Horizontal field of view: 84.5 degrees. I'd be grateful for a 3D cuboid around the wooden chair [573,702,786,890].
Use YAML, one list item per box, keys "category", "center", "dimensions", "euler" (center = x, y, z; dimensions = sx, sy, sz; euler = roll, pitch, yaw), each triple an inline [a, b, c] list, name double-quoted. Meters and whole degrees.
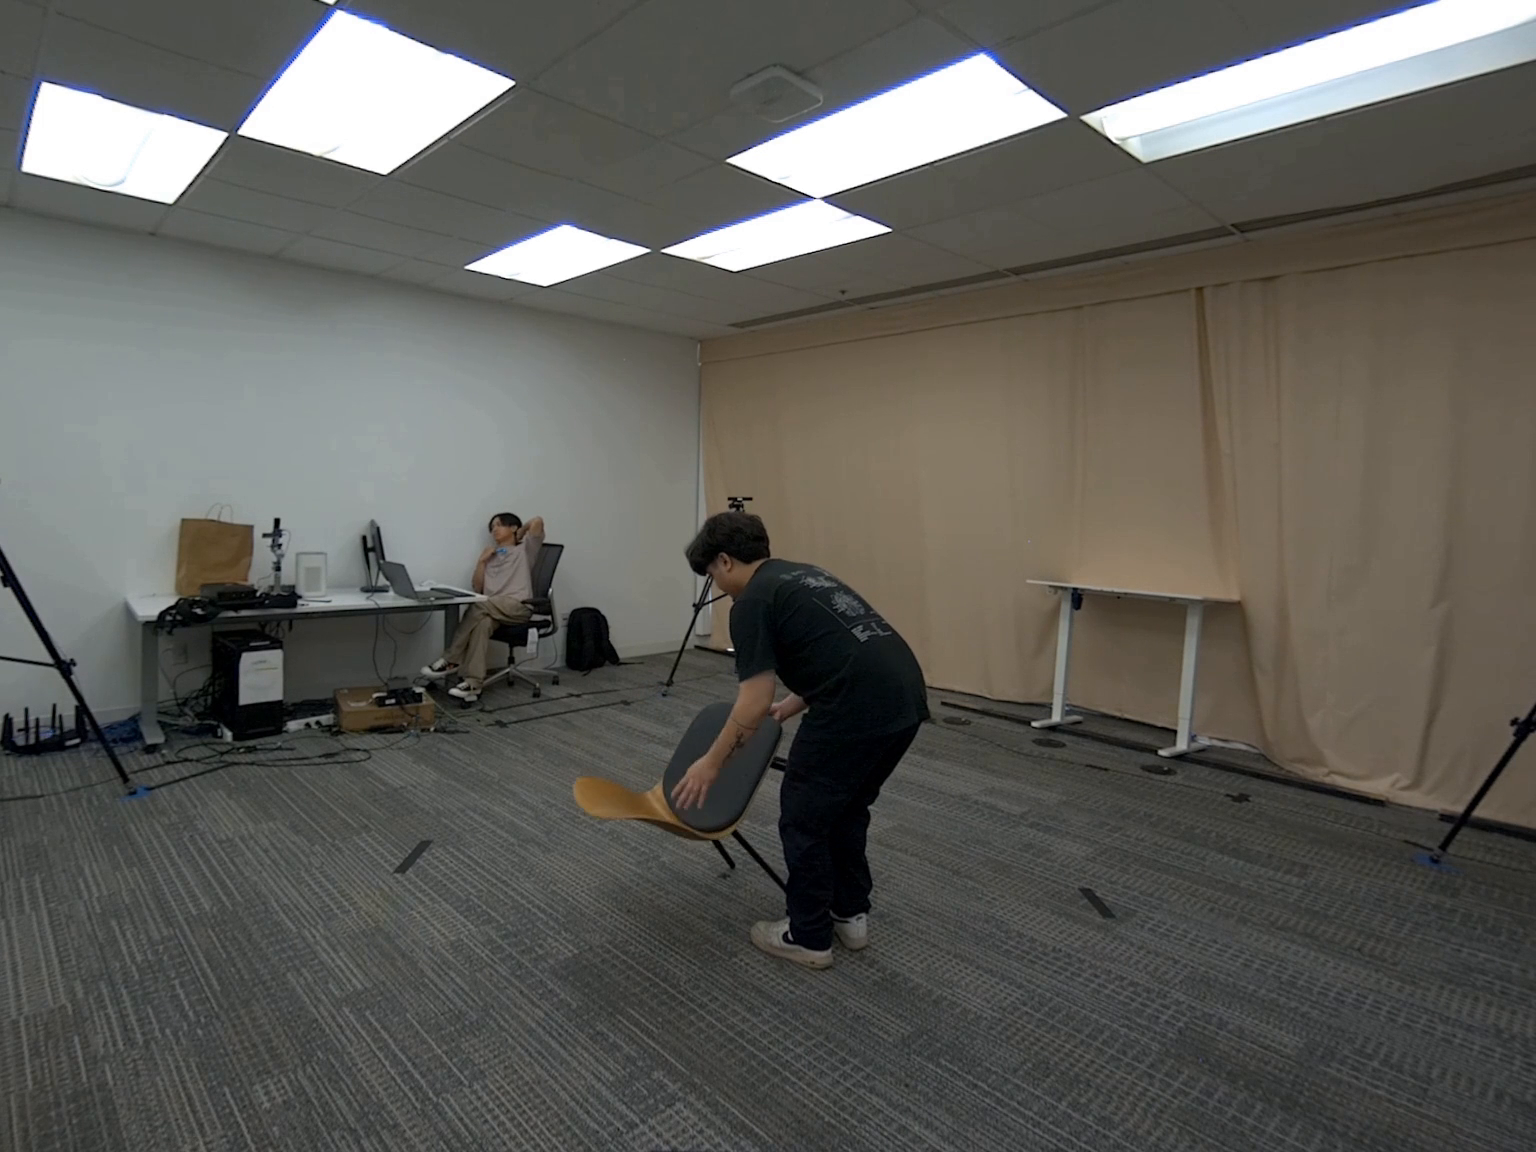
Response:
- category: "wooden chair"
  center: [-0.165, 0.696, 2.845]
  dimensions: [0.852, 0.525, 0.490]
  euler: [36, -17, -34]
